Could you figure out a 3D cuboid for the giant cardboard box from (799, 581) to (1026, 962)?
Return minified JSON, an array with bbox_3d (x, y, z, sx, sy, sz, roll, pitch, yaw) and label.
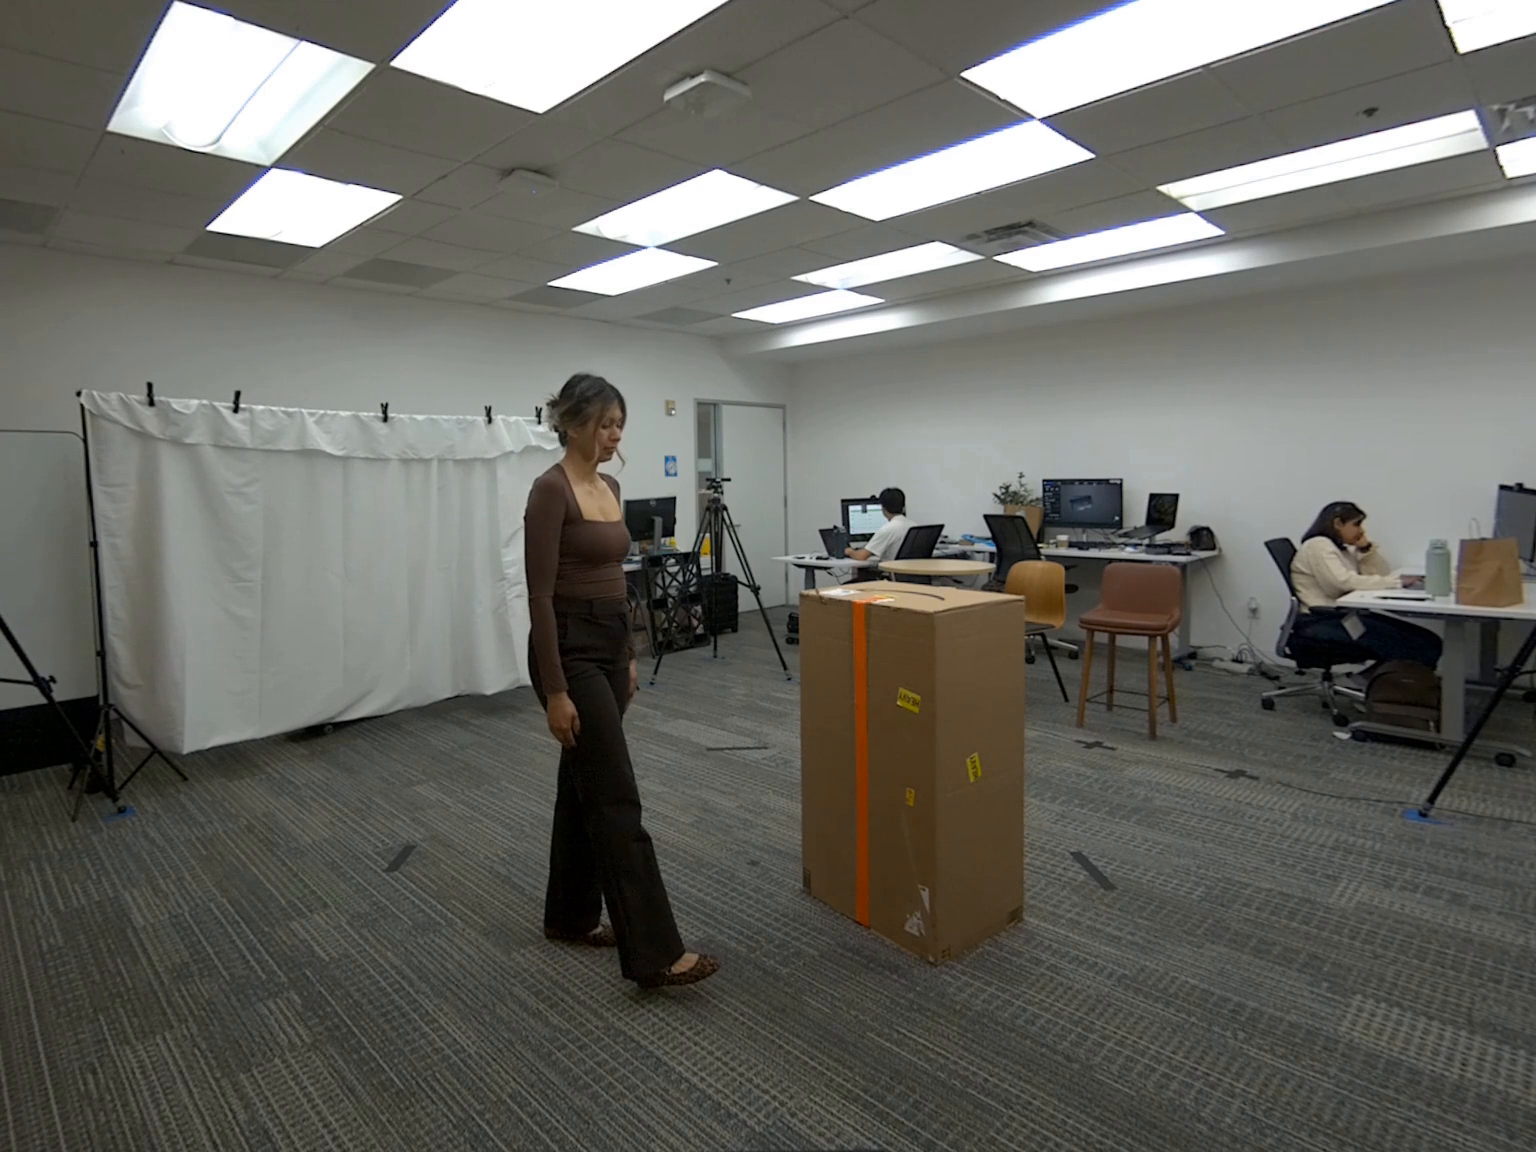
[{"bbox_3d":[0.453,0.564,2.750,0.435,1.023,0.601,-5,6,-37],"label":"giant cardboard box"}]
